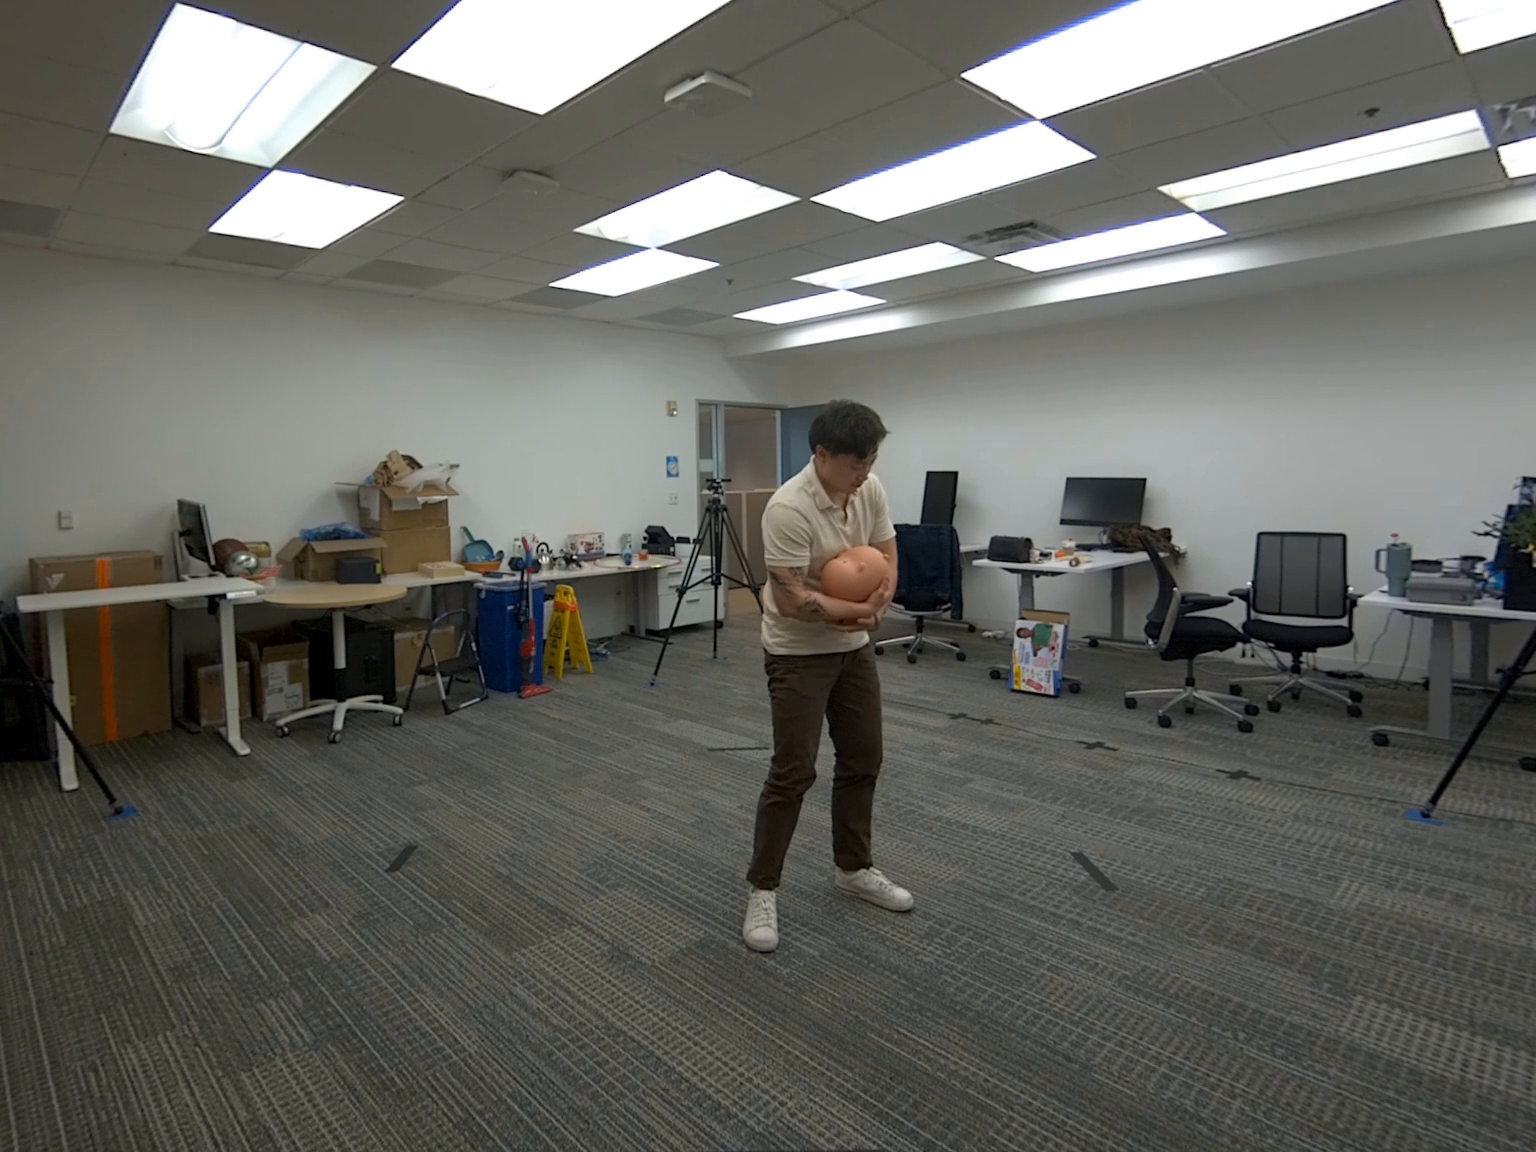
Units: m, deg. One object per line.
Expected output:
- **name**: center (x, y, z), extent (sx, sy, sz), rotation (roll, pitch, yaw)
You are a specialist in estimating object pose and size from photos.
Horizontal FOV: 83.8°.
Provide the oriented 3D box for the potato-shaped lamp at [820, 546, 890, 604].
- **potato-shaped lamp**: center (0.240, 0.001, 2.597), extent (0.194, 0.169, 0.170), rotation (-7, 21, -24)
